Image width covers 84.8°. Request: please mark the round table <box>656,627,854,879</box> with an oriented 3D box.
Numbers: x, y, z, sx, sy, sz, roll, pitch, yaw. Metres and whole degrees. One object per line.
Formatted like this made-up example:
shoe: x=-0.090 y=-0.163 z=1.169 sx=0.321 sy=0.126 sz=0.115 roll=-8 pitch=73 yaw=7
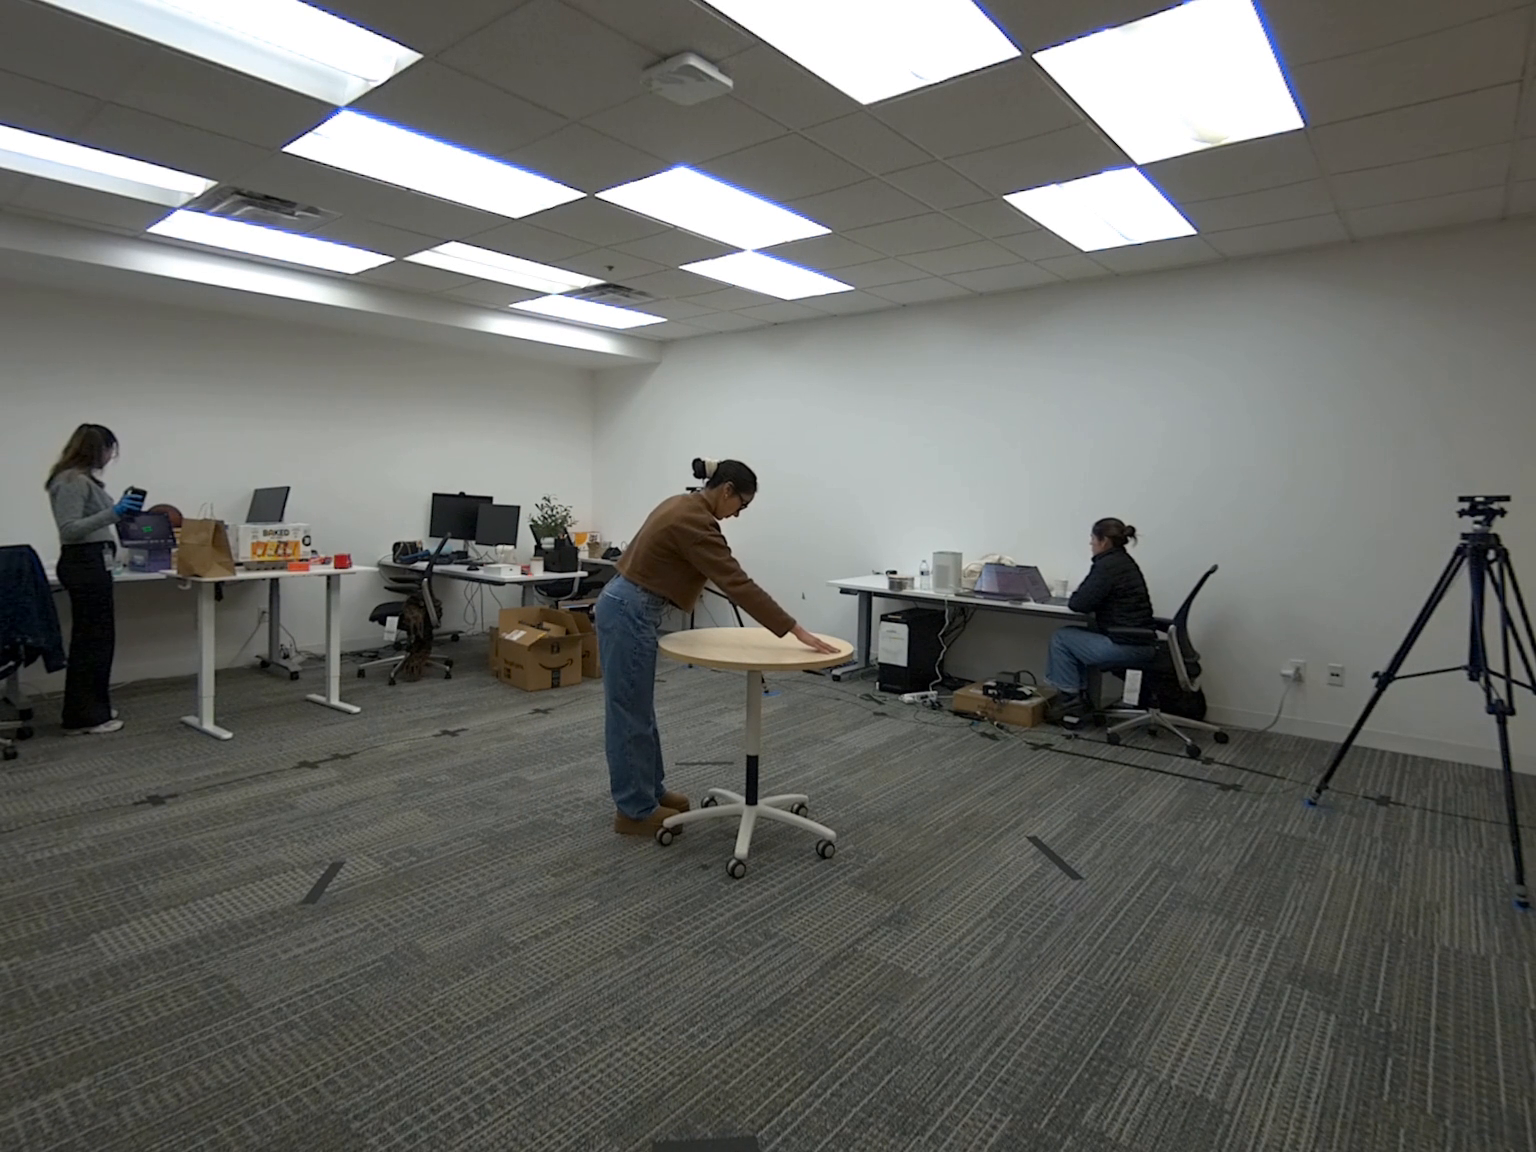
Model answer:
round table: x=-0.067 y=0.656 z=3.364 sx=0.763 sy=0.792 sz=0.767 roll=1 pitch=4 yaw=-2
